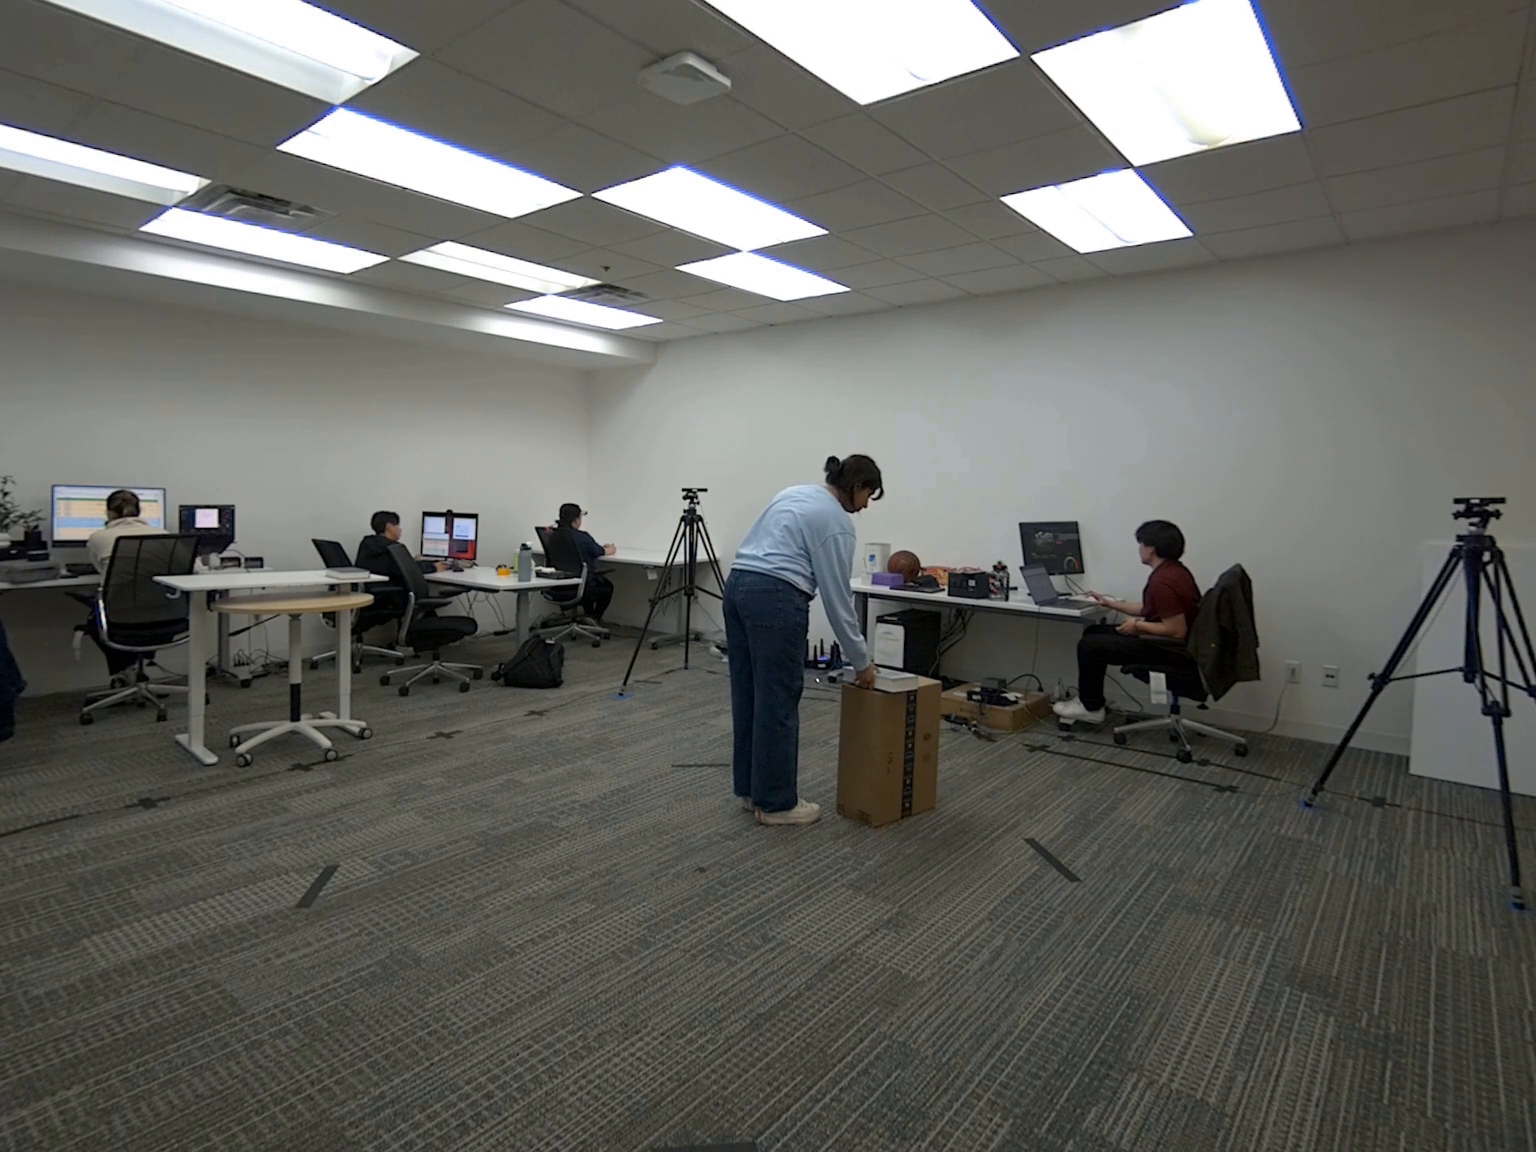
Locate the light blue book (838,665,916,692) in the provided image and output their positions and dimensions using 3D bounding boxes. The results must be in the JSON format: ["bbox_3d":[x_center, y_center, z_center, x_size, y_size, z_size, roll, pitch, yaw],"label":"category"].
[{"bbox_3d":[0.468,0.433,3.627,0.185,0.059,0.270,1,4,-45],"label":"light blue book"}]
